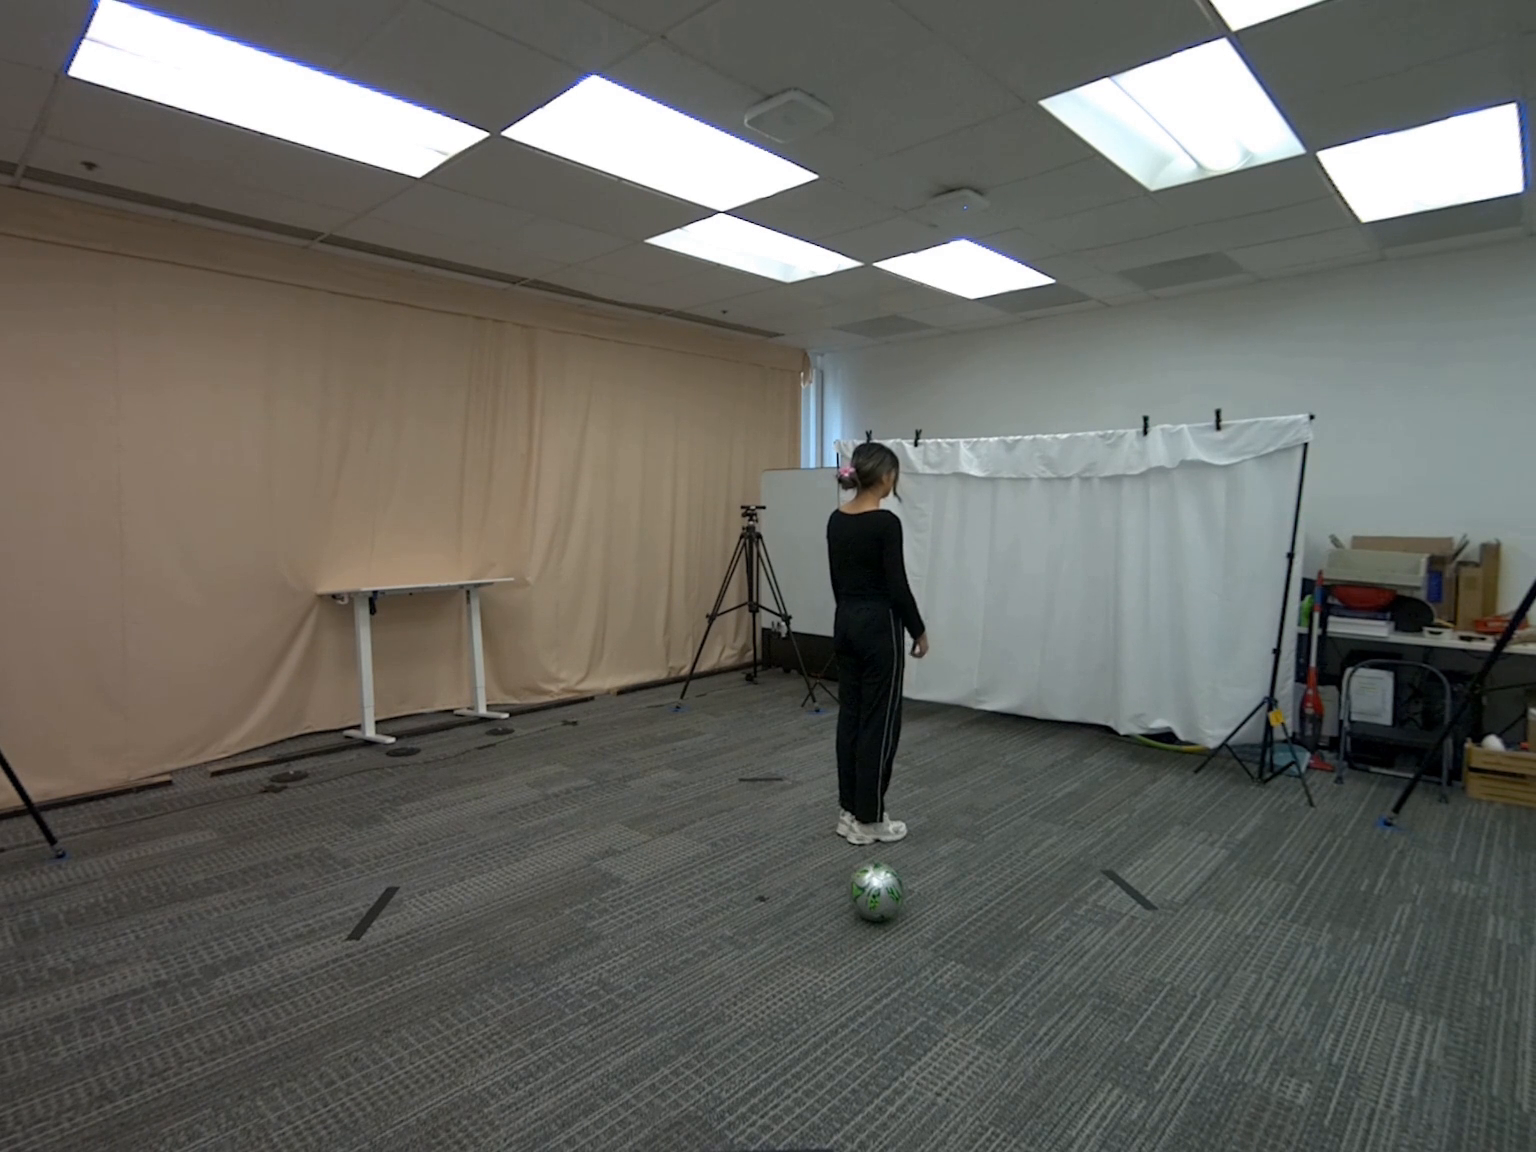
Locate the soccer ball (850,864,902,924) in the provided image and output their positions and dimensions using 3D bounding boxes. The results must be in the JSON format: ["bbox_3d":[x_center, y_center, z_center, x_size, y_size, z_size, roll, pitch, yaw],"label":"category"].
[{"bbox_3d":[0.372,1.060,2.836,0.187,0.187,0.188,0,4,-2],"label":"soccer ball"}]
